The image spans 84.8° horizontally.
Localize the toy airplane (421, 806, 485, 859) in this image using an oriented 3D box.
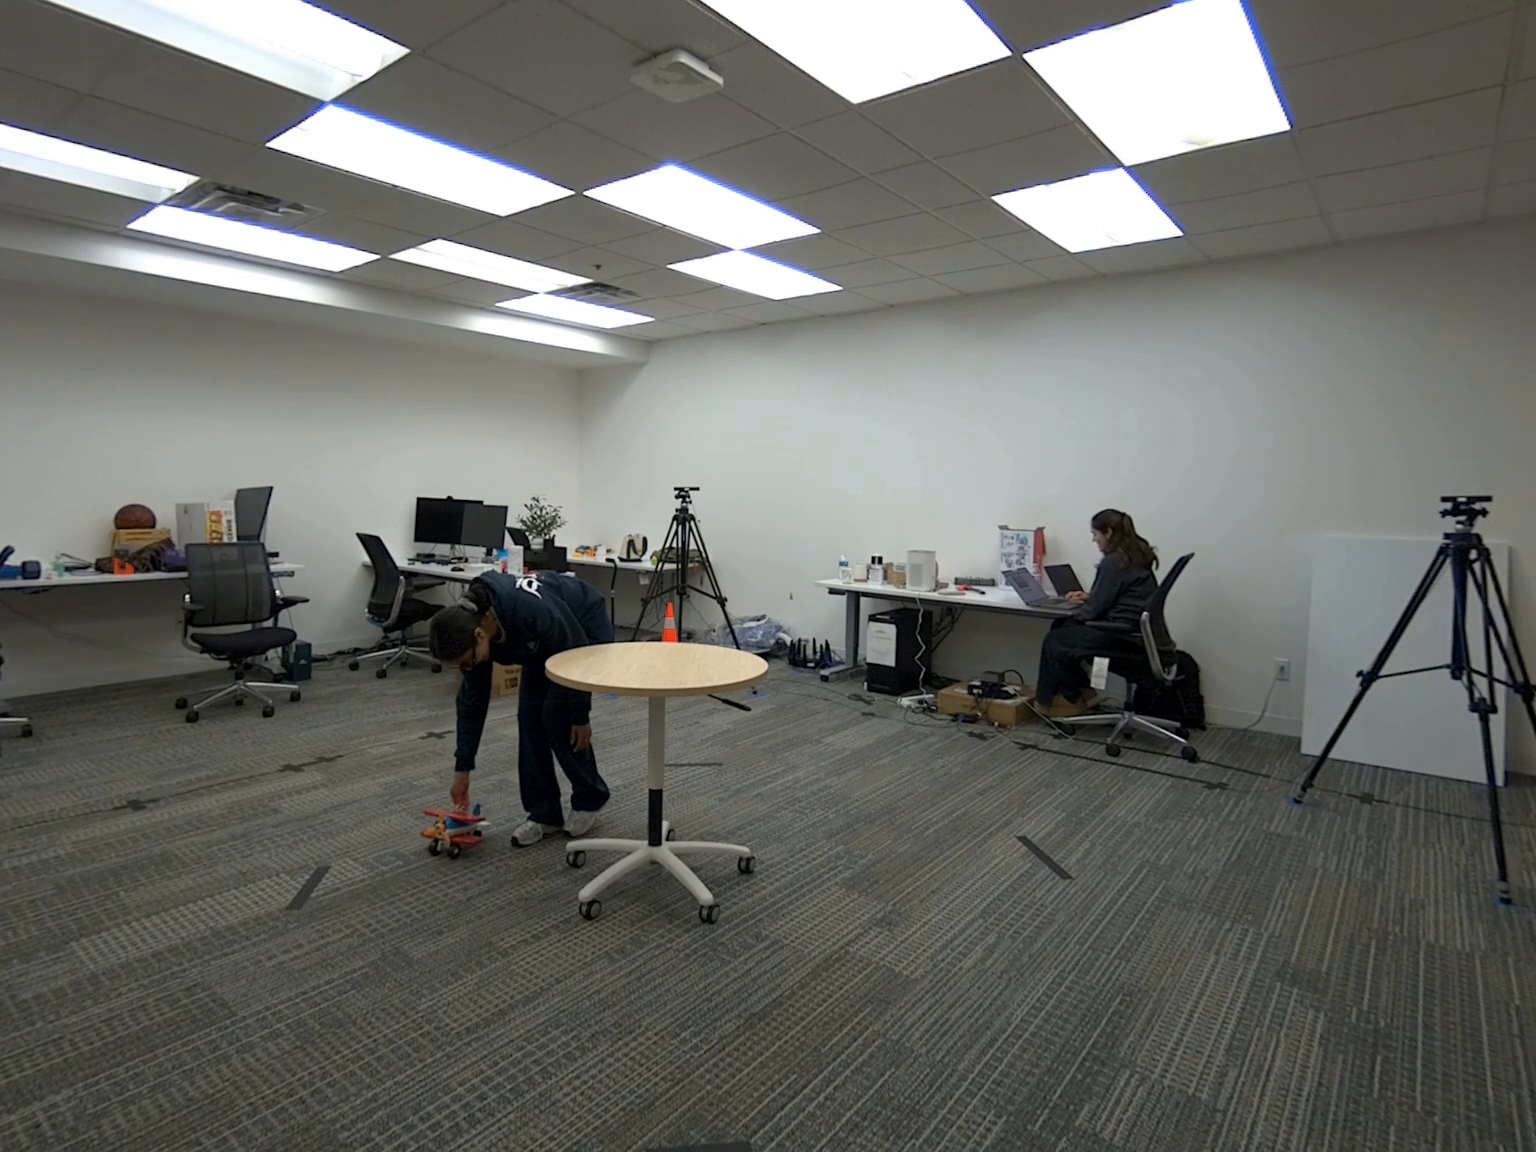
[{"bbox_3d":[-1.223,0.967,3.270,0.248,0.156,0.263,-1,6,-11],"label":"toy airplane"}]
